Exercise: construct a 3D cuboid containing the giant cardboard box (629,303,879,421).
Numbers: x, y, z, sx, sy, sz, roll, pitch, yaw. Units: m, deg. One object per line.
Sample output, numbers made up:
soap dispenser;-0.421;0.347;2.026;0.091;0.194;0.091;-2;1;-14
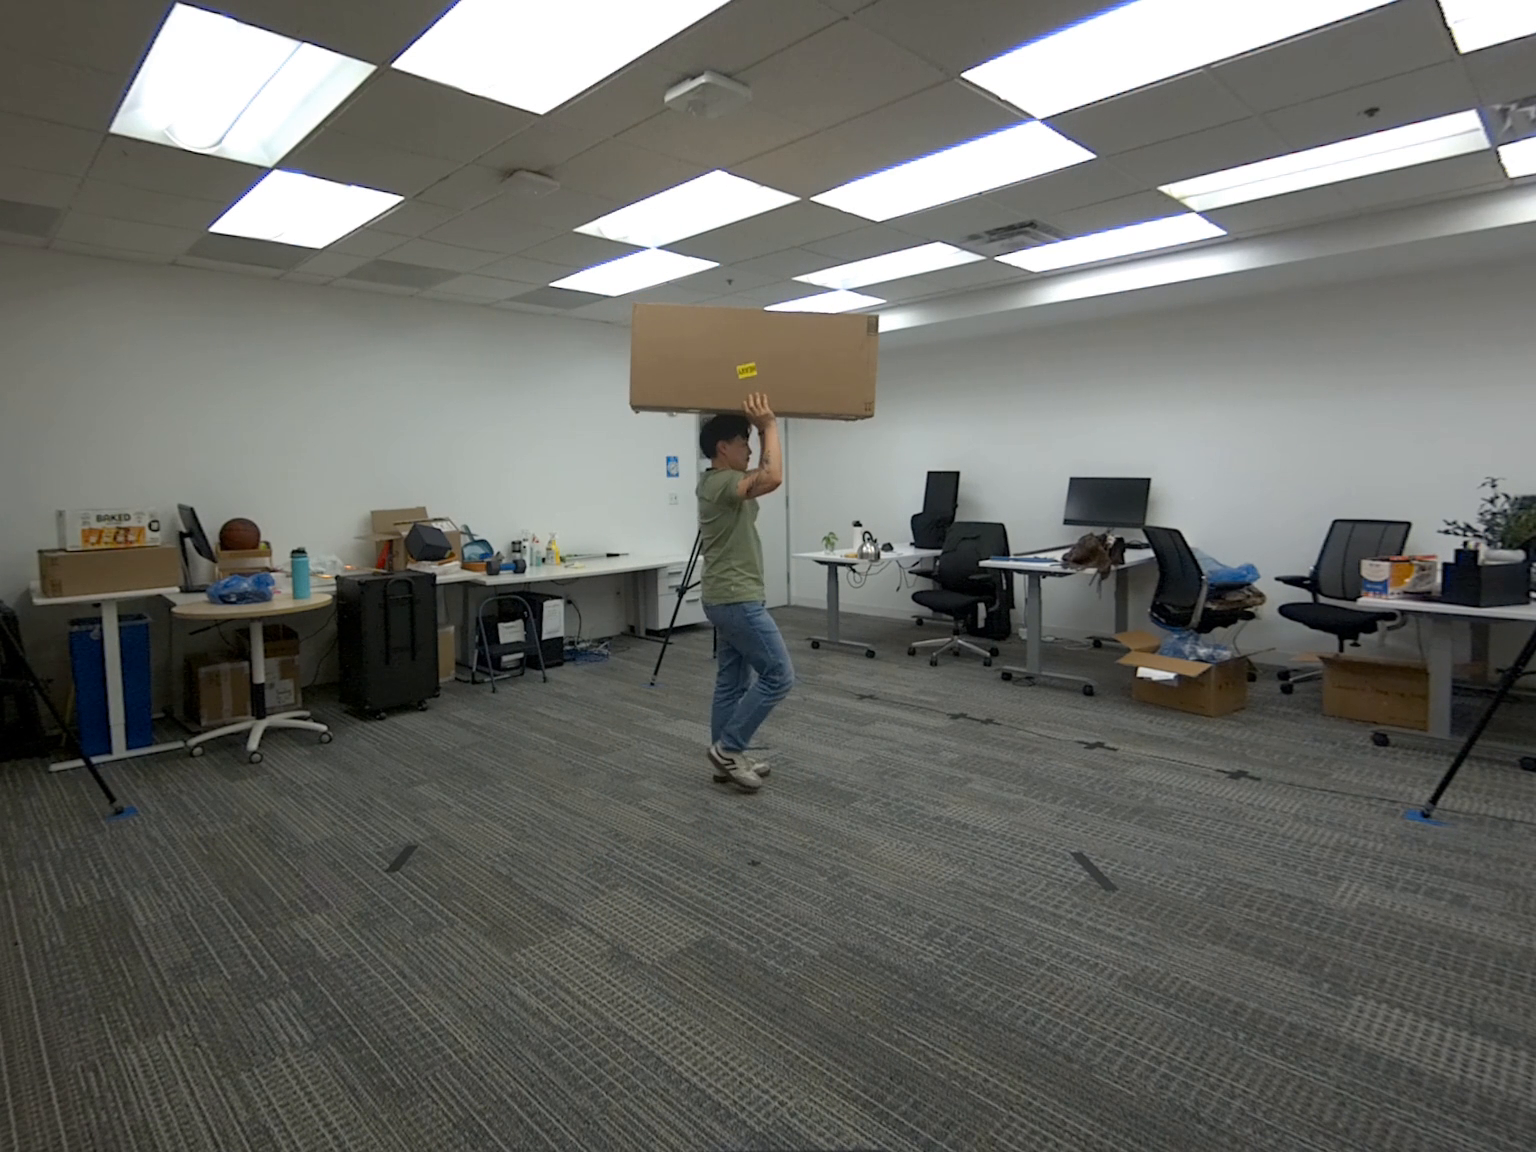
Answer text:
giant cardboard box;-0.082;-0.927;3.801;1.022;0.423;0.583;2;8;-4
